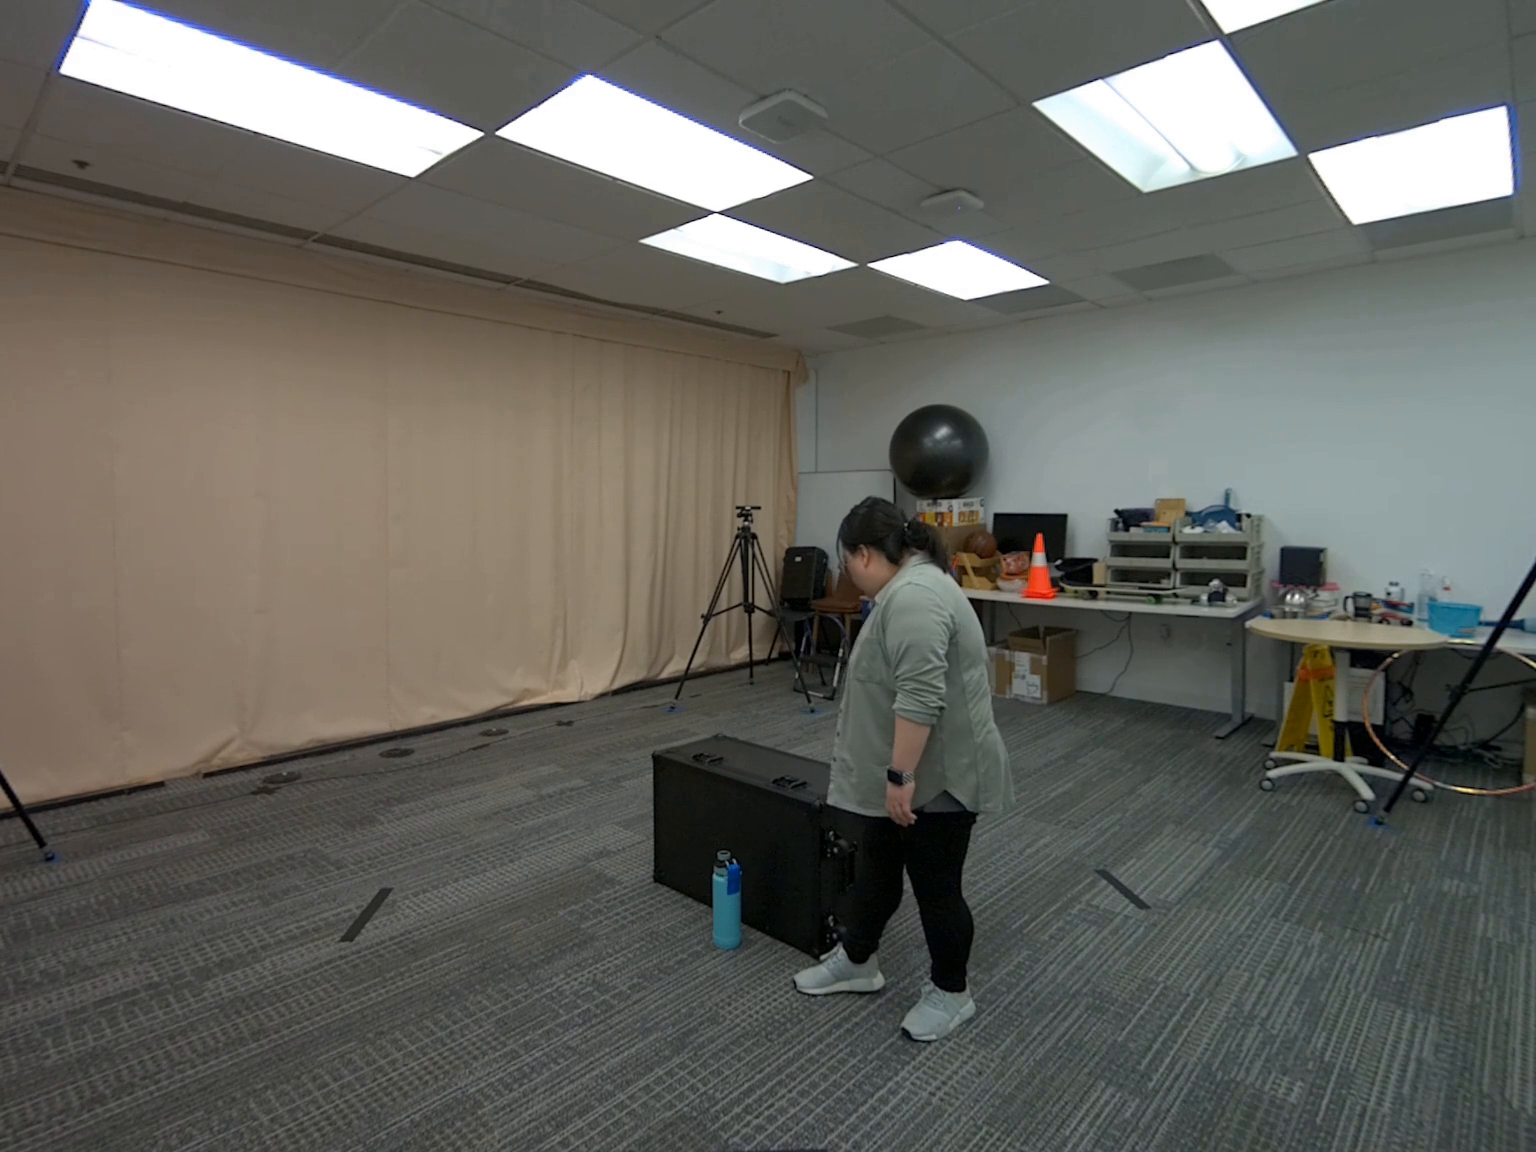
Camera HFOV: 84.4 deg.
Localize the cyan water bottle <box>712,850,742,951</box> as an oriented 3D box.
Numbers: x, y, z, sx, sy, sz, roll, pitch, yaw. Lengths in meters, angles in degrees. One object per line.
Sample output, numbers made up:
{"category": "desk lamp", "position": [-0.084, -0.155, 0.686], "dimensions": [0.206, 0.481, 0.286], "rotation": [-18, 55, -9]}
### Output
{"category": "cyan water bottle", "position": [-0.126, 1.026, 2.693], "dimensions": [0.092, 0.282, 0.093], "rotation": [0, 5, -2]}
